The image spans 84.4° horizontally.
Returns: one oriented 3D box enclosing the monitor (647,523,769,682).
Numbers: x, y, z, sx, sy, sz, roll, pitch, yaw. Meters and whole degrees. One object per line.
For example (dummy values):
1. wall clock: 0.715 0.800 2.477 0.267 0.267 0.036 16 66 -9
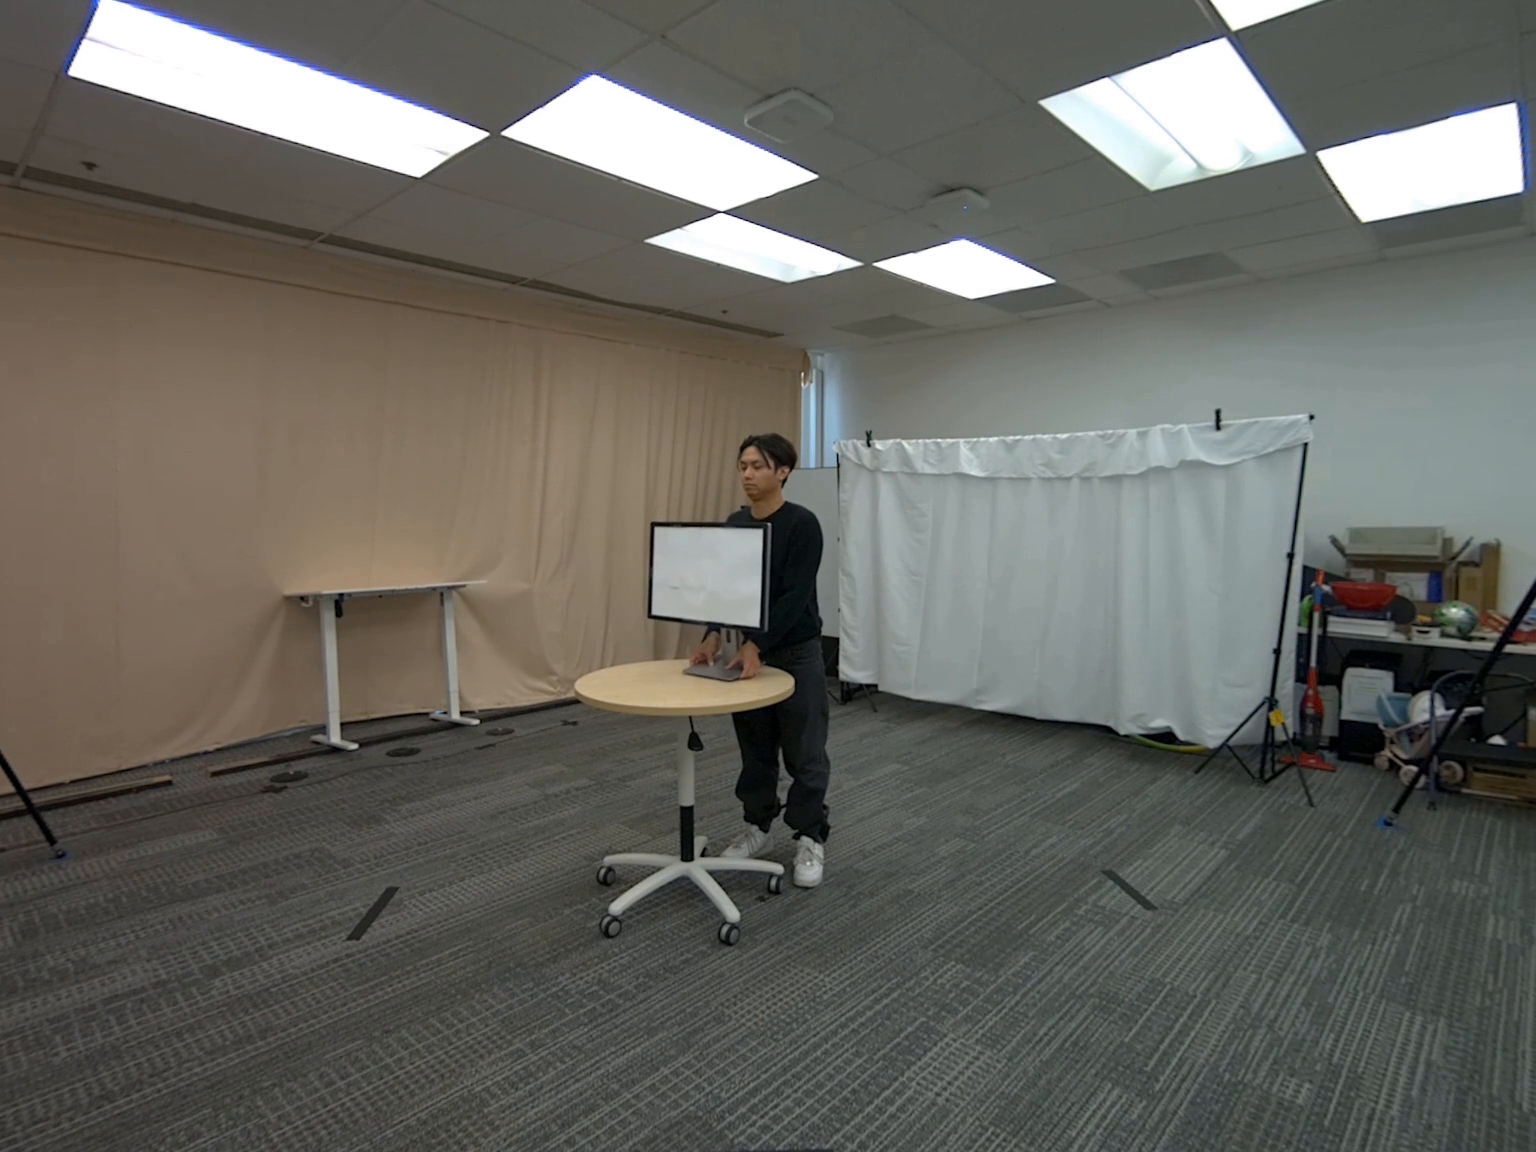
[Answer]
1. monitor: -0.189 0.074 3.014 0.556 0.519 0.182 2 13 39
